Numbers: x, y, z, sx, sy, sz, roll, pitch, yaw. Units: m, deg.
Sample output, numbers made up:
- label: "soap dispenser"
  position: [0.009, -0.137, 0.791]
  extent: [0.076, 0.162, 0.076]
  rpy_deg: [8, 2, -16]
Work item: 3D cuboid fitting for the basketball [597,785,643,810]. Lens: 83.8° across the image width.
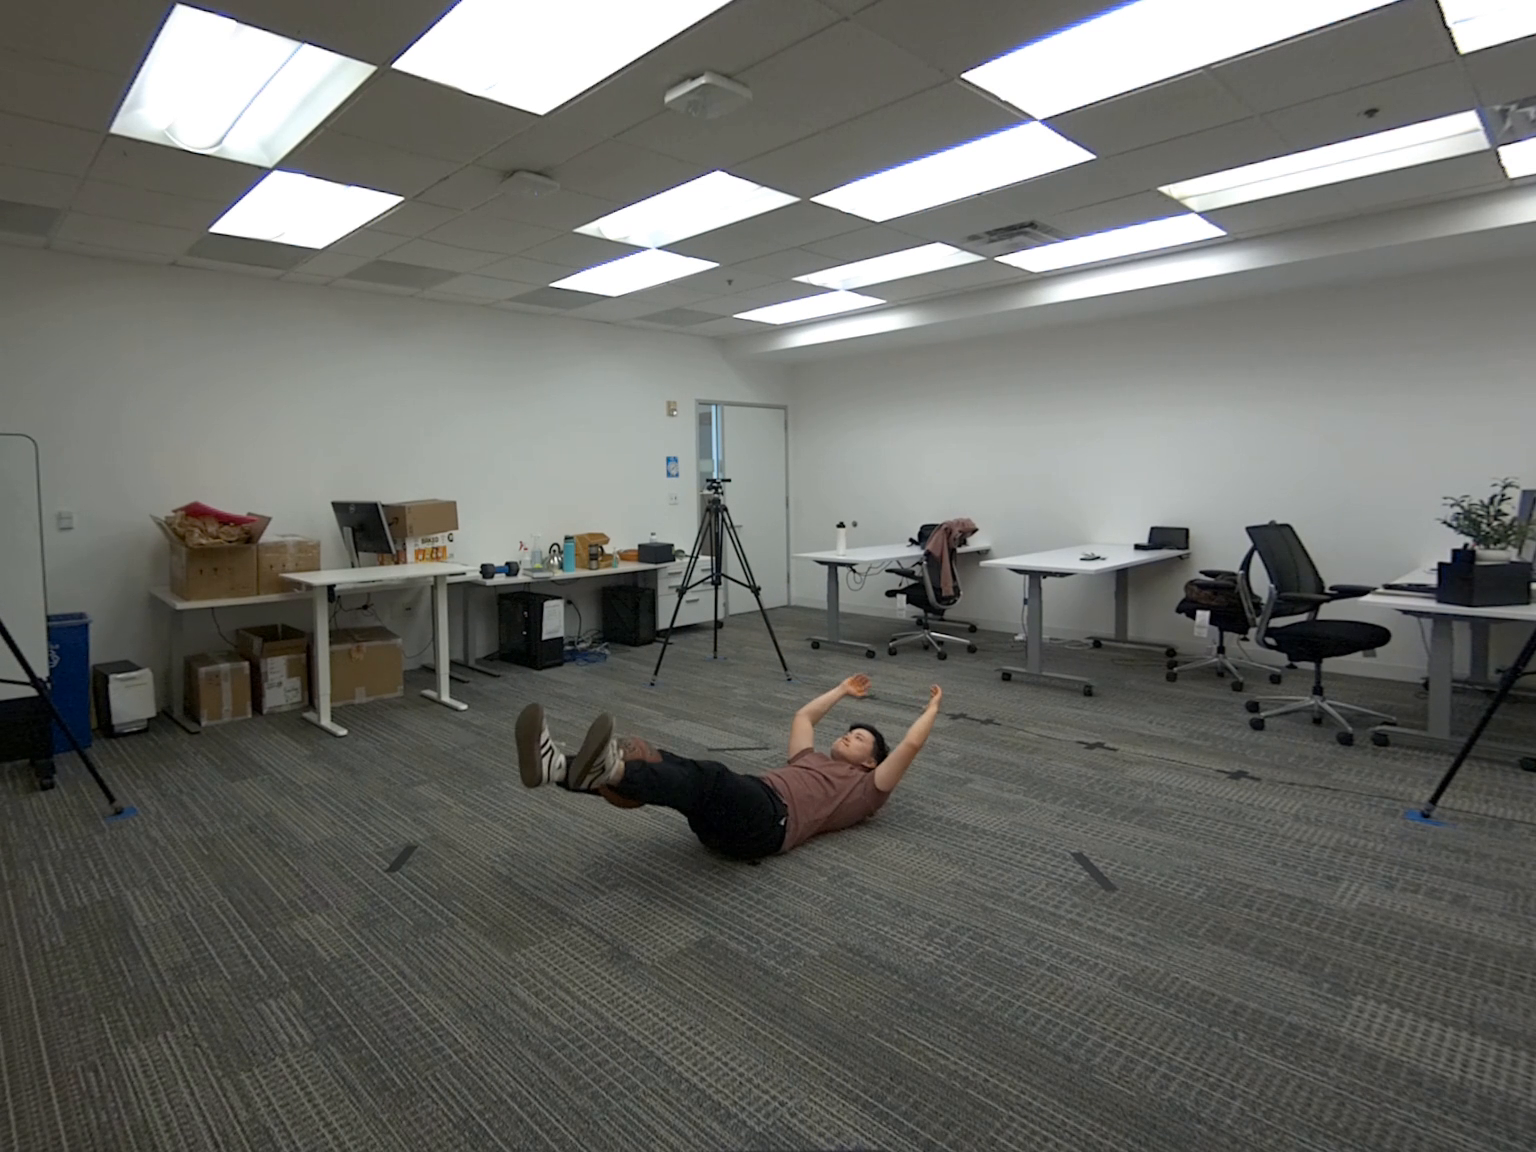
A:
- label: "basketball"
  position: [-0.471, 0.675, 2.907]
  extent: [0.236, 0.235, 0.237]
  rpy_deg: [-2, 5, -2]
